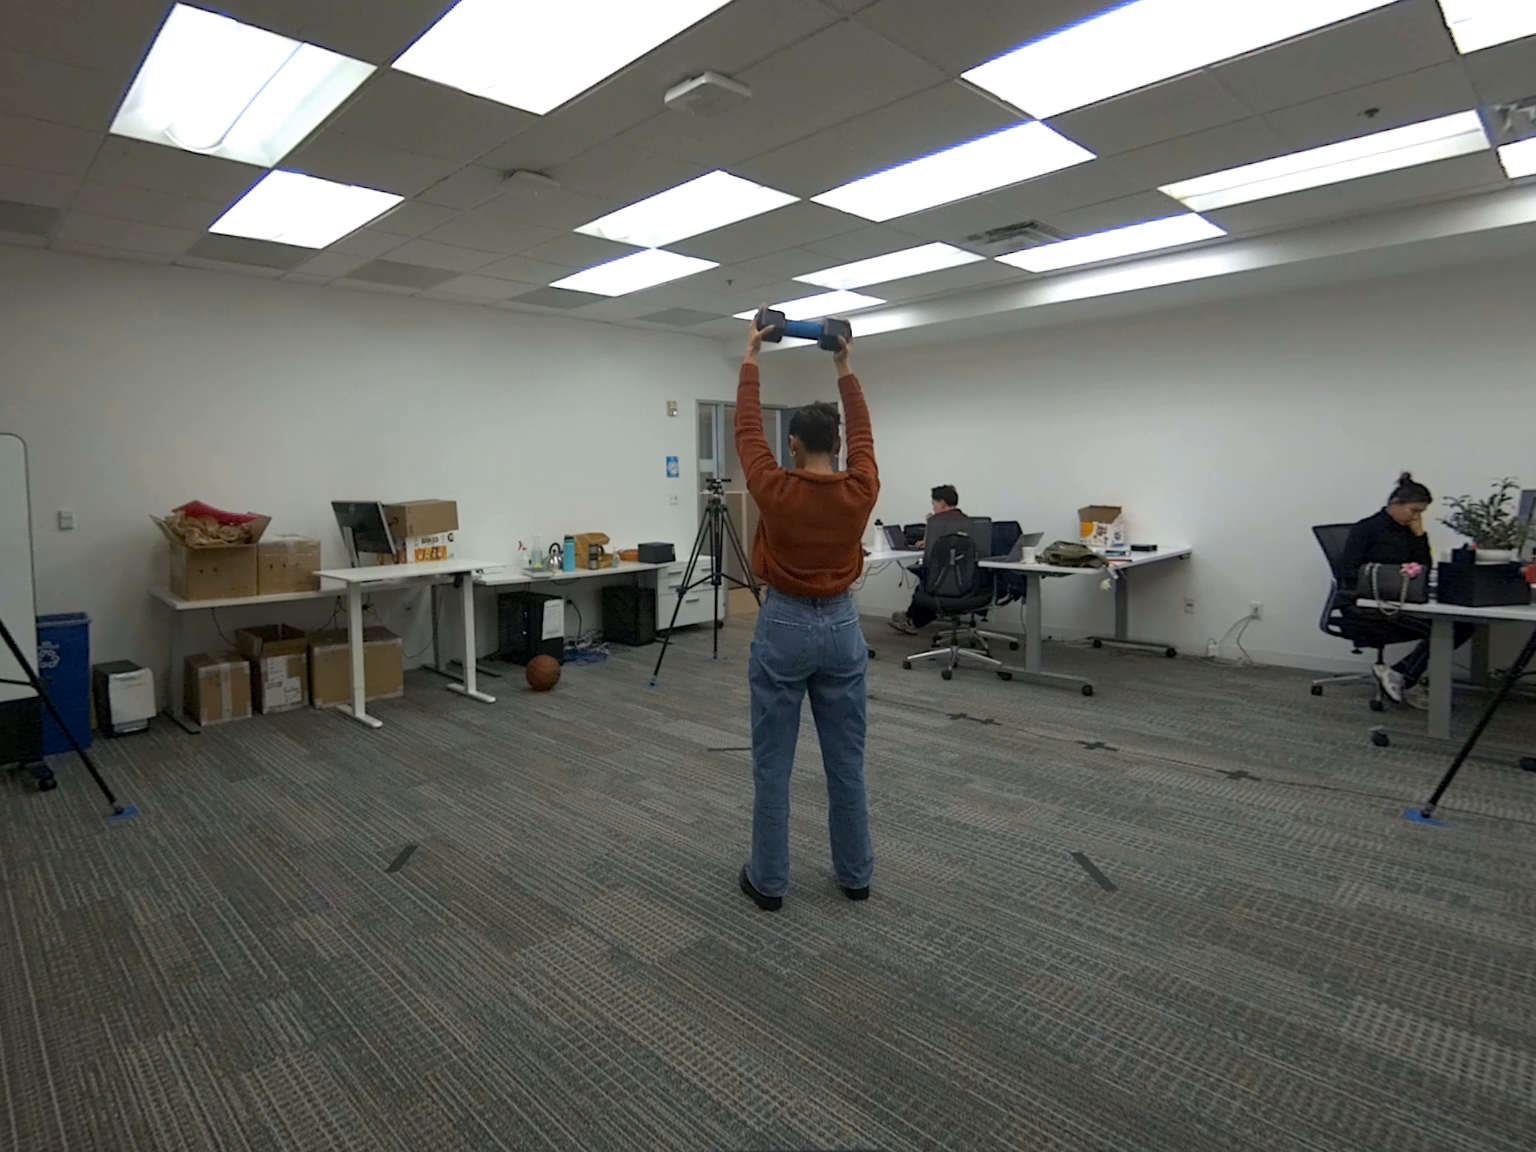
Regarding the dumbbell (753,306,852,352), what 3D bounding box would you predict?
[{"bbox_3d":[0.117,-0.813,2.871,0.291,0.111,0.120,6,-39,-7],"label":"dumbbell"}]
